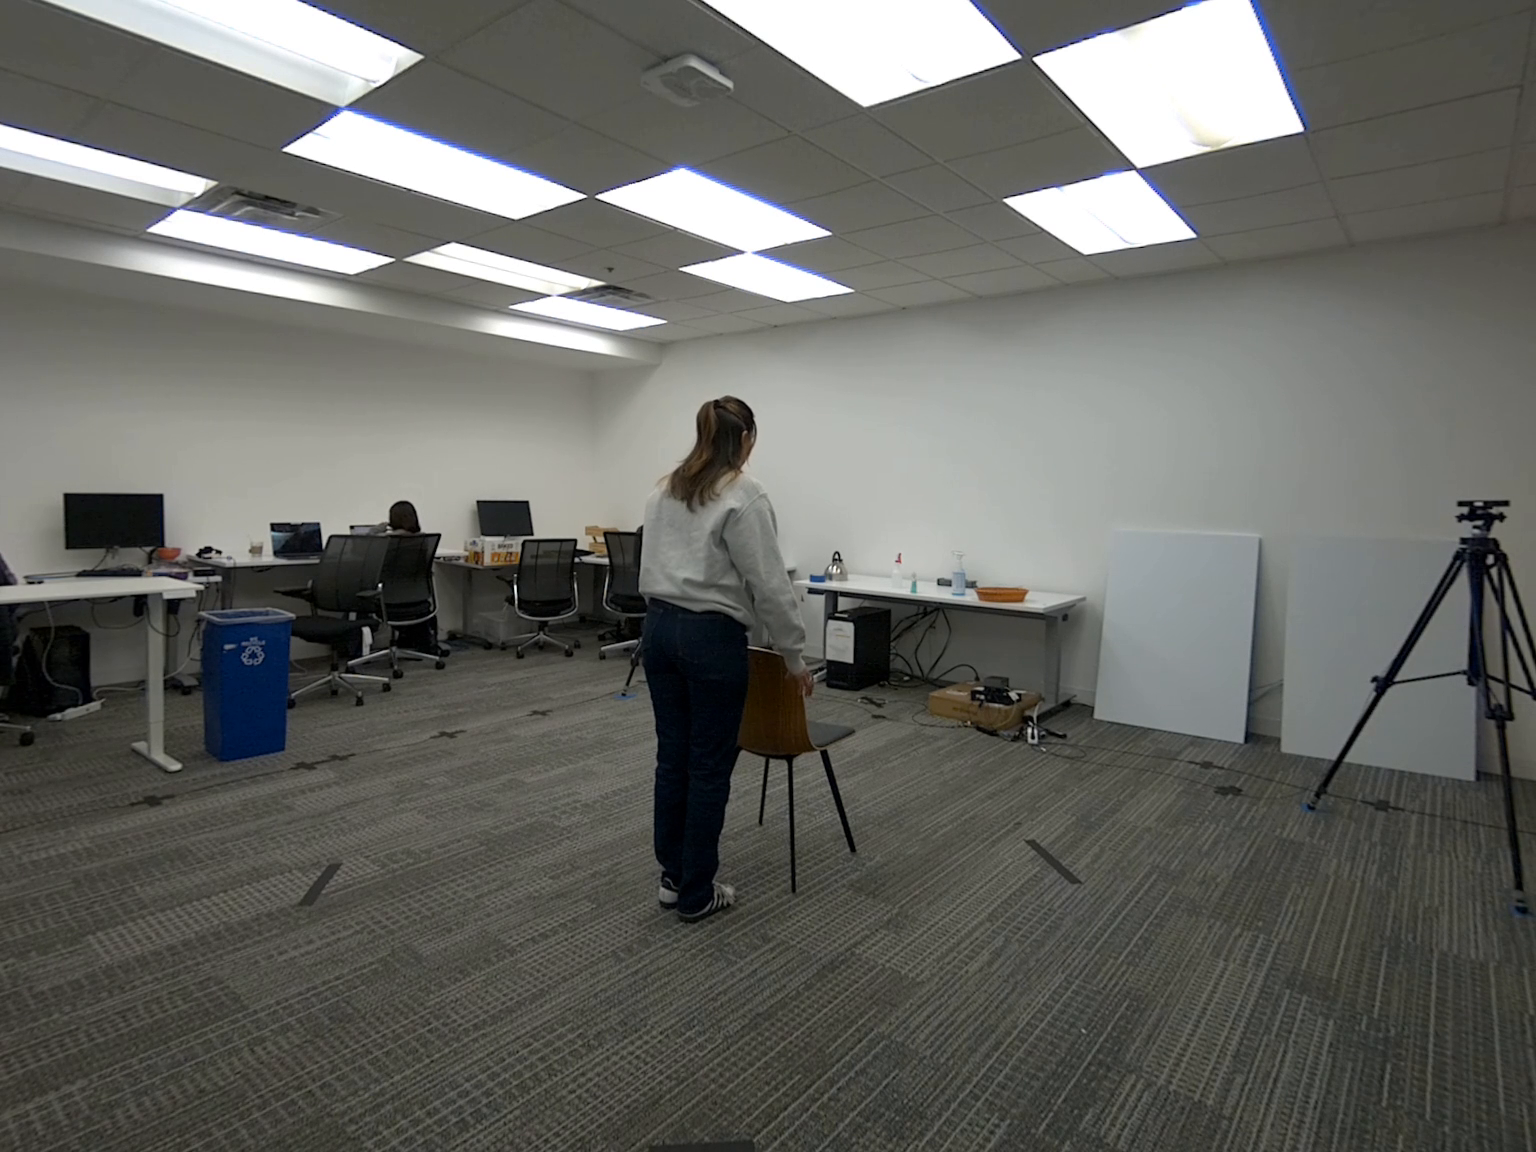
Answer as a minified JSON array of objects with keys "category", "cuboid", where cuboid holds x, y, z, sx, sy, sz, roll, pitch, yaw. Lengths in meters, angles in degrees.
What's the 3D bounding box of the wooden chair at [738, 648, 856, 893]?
[{"category":"wooden chair","cuboid":[0.031,0.637,3.236,0.493,0.872,0.510,3,8,35]}]
